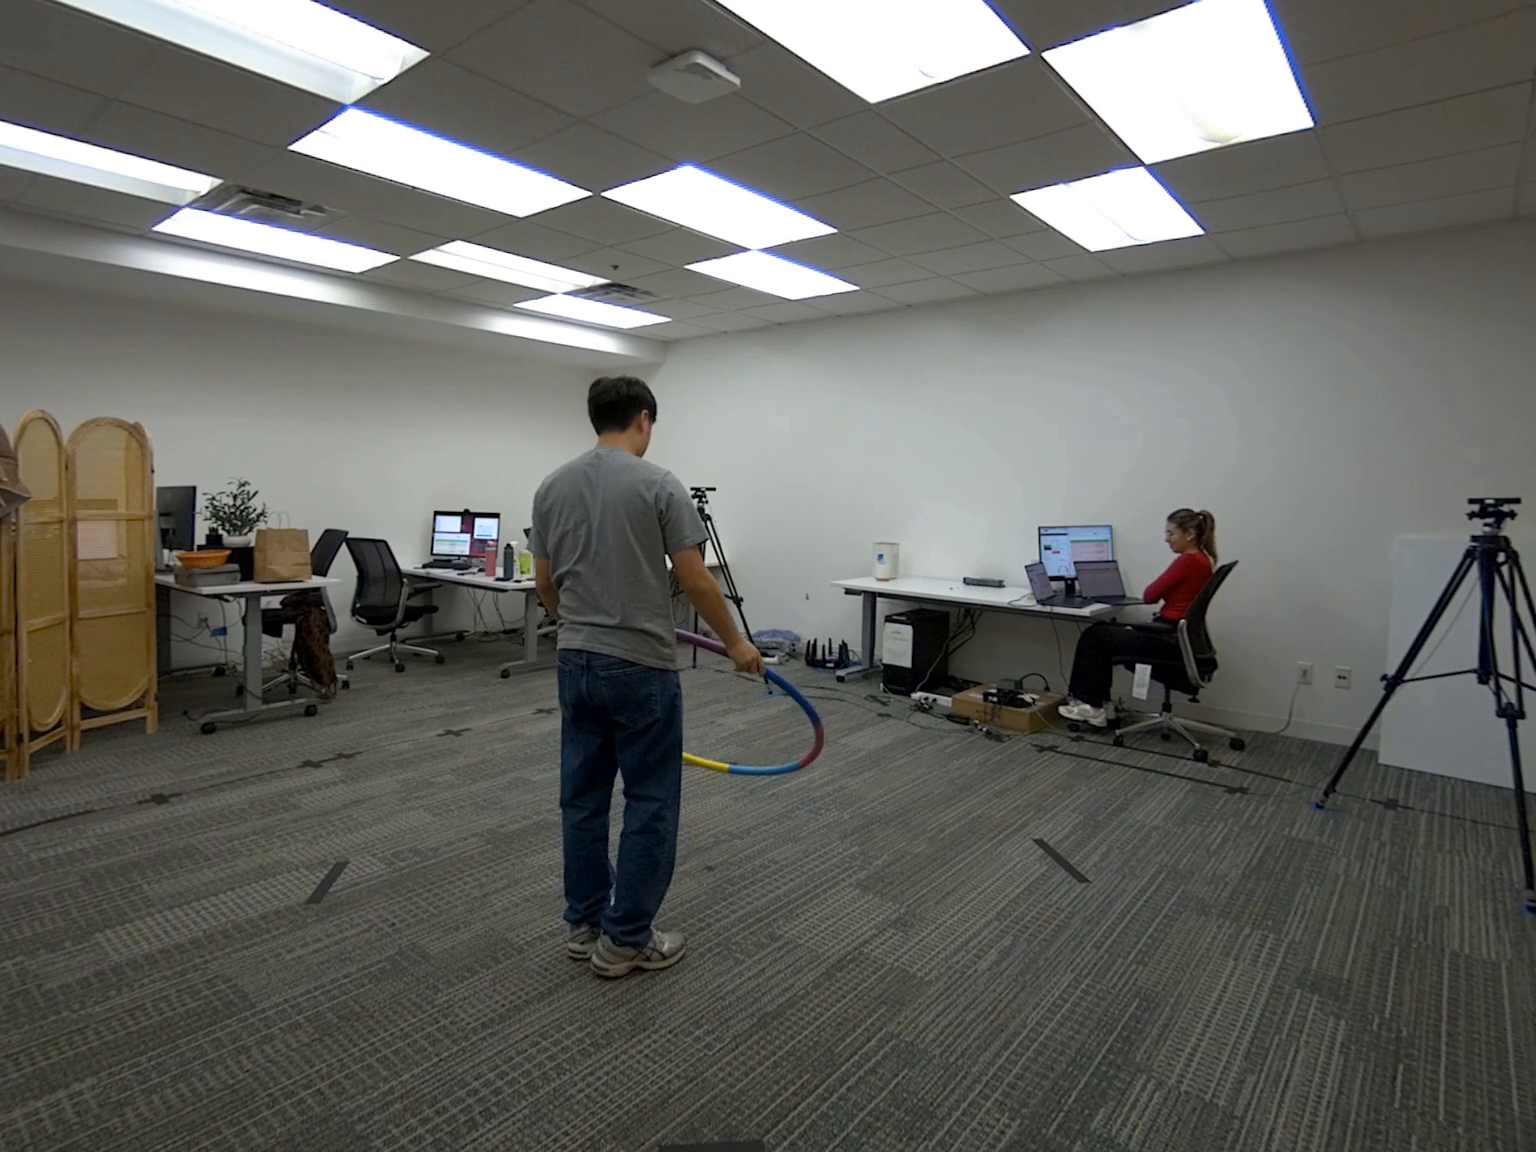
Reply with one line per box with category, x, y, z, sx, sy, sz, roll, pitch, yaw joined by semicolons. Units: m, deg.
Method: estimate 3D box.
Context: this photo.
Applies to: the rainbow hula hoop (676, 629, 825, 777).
rainbow hula hoop;-0.295;0.452;2.980;0.992;0.036;0.953;17;-34;10
